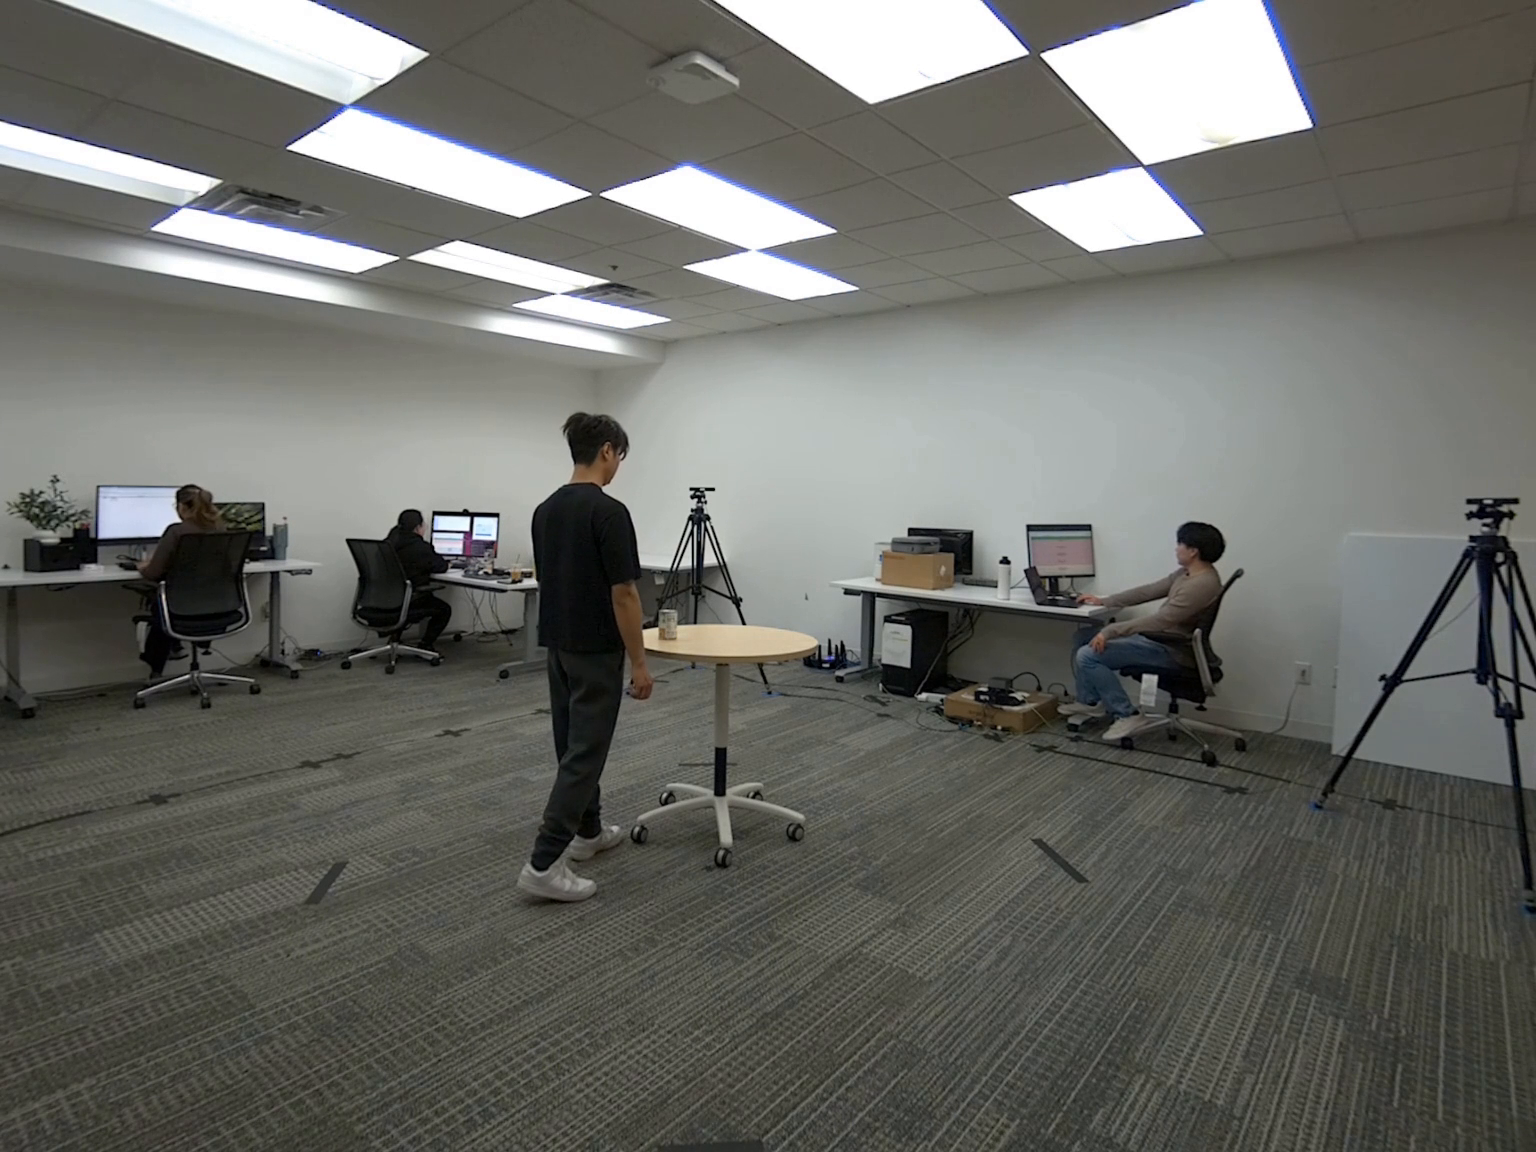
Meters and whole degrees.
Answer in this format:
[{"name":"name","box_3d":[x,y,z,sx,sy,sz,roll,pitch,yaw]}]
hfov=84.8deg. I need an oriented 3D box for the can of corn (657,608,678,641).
[{"name":"can of corn","box_3d":[-0.416,0.193,3.421,0.074,0.111,0.074,-1,3,-2]}]
